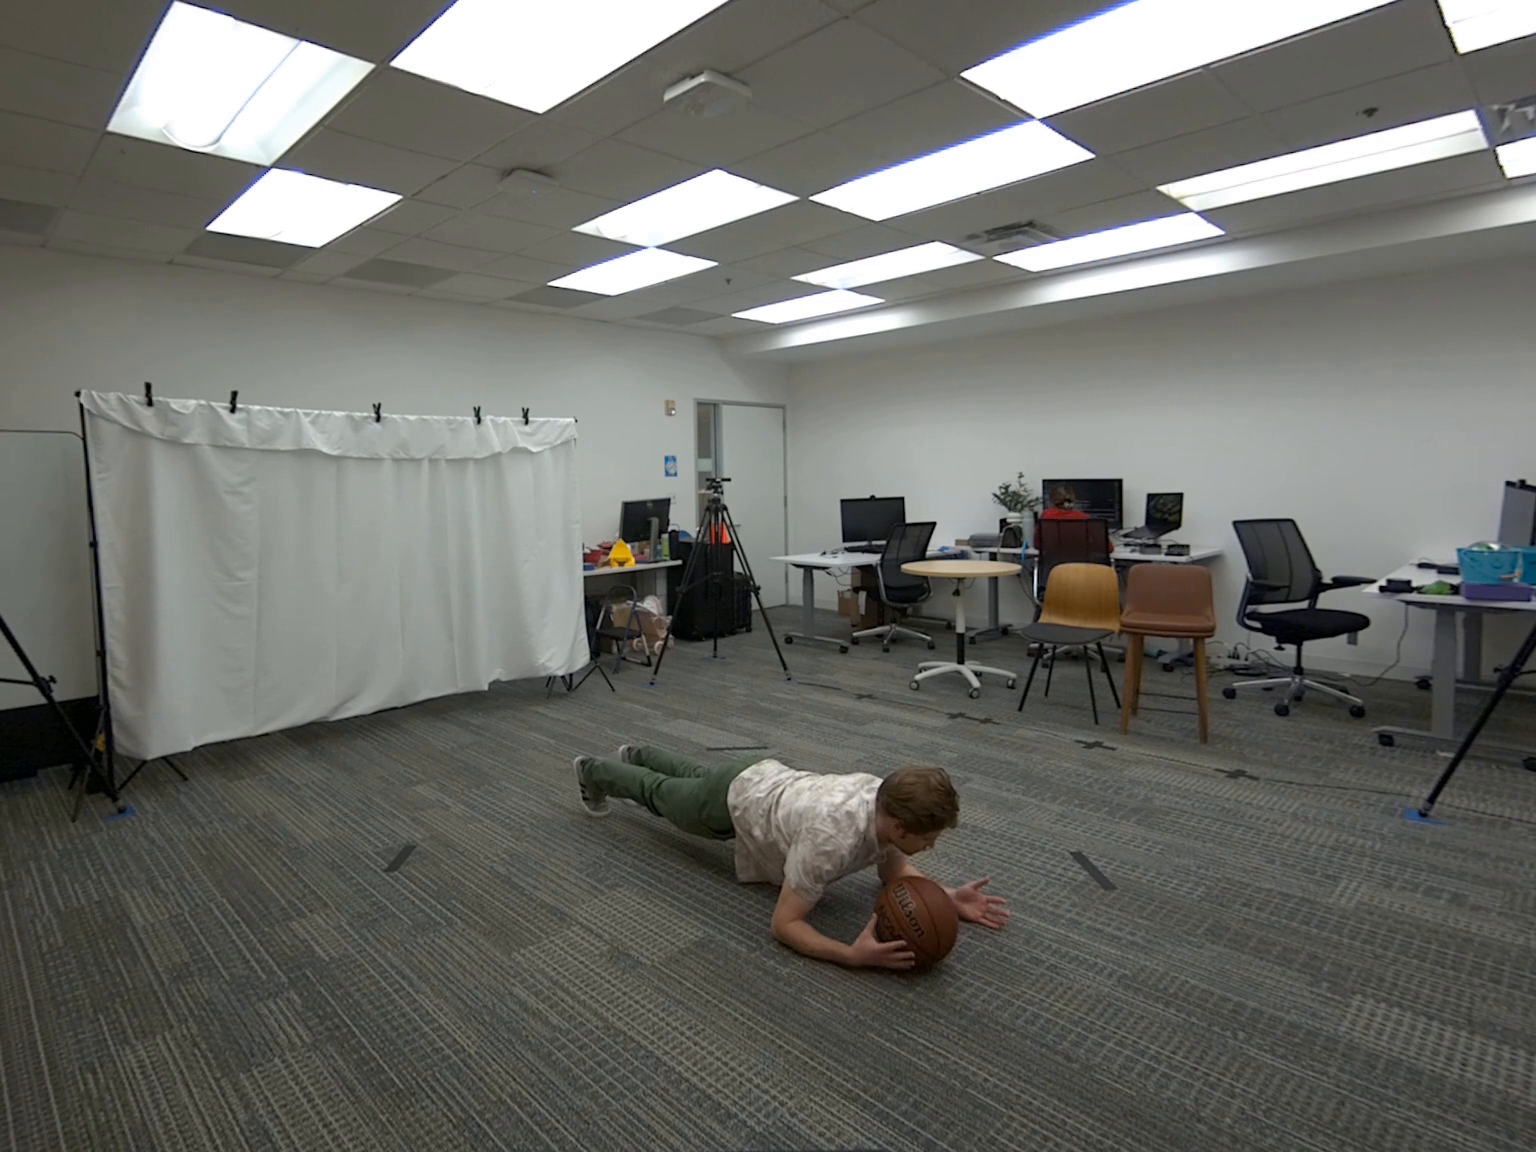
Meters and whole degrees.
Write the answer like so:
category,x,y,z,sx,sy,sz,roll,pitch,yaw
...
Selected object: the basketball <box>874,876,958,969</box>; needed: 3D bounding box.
category,x,y,z,sx,sy,sz,roll,pitch,yaw
basketball,0.428,0.991,2.459,0.236,0.235,0.237,-1,5,-2
